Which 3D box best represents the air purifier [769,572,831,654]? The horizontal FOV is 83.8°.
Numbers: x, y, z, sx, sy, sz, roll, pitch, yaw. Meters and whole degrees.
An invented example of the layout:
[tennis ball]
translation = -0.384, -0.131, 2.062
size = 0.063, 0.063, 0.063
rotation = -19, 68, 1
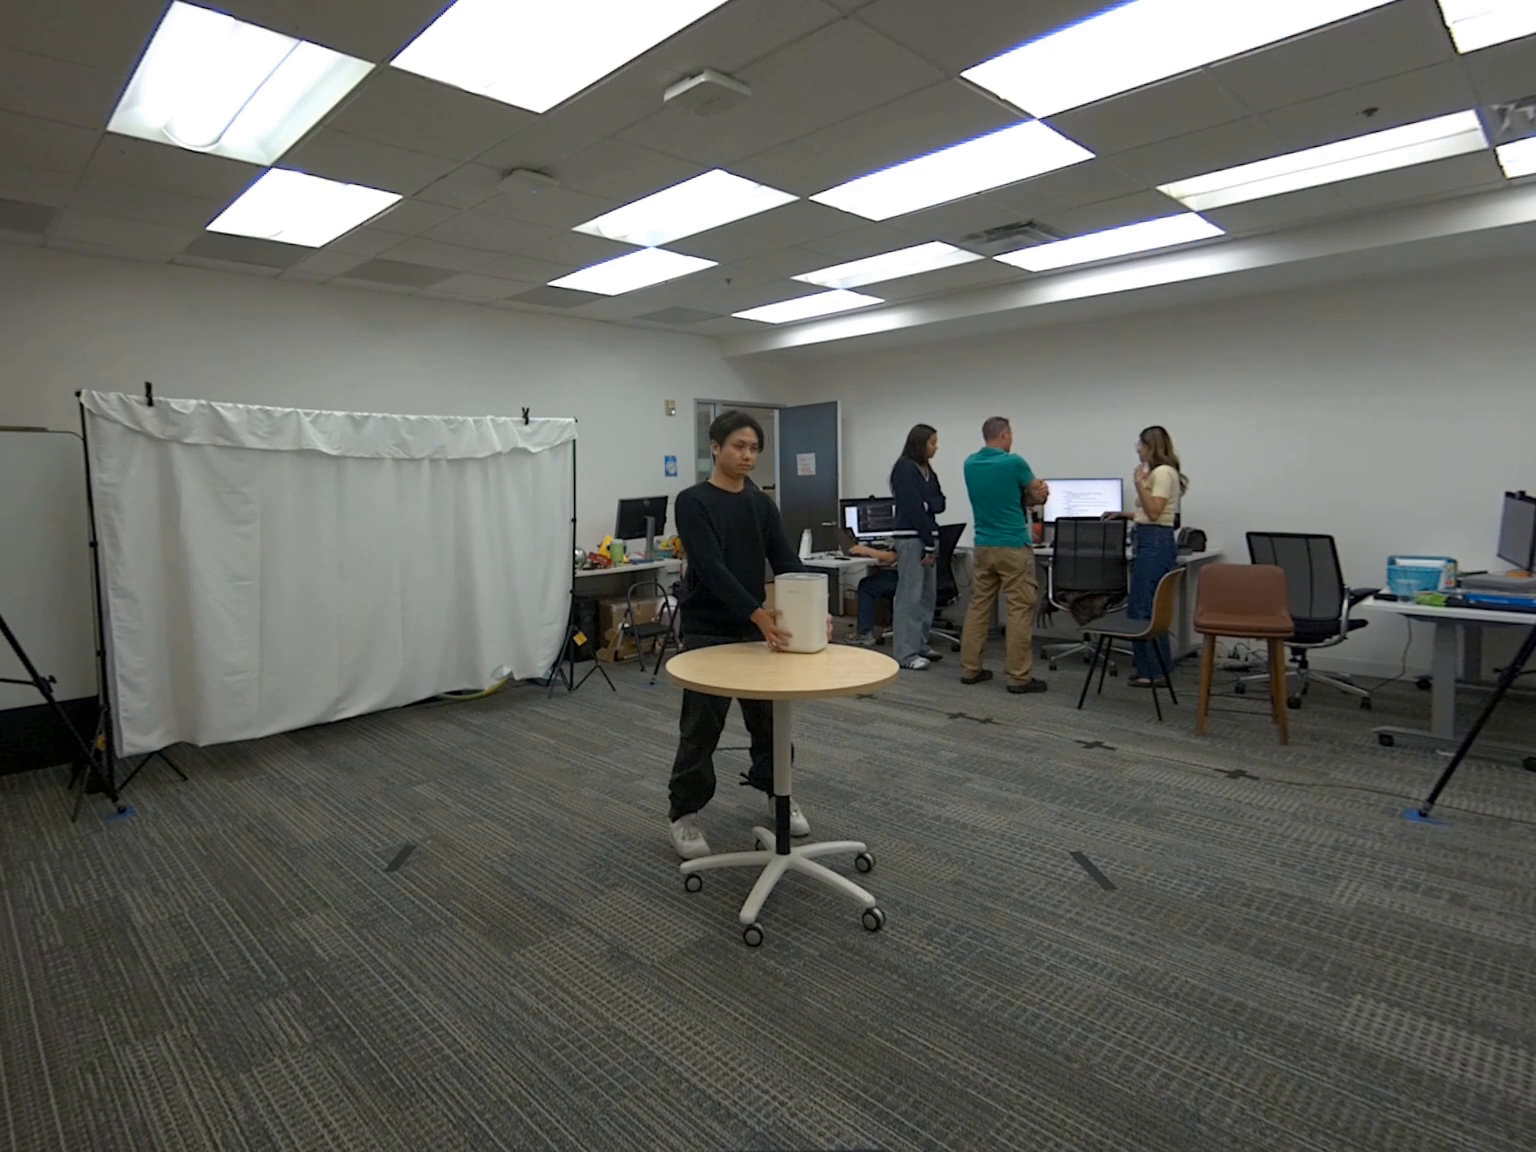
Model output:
[air purifier]
translation = 0.118, 0.133, 3.052
size = 0.175, 0.264, 0.168
rotation = 2, 4, 22
